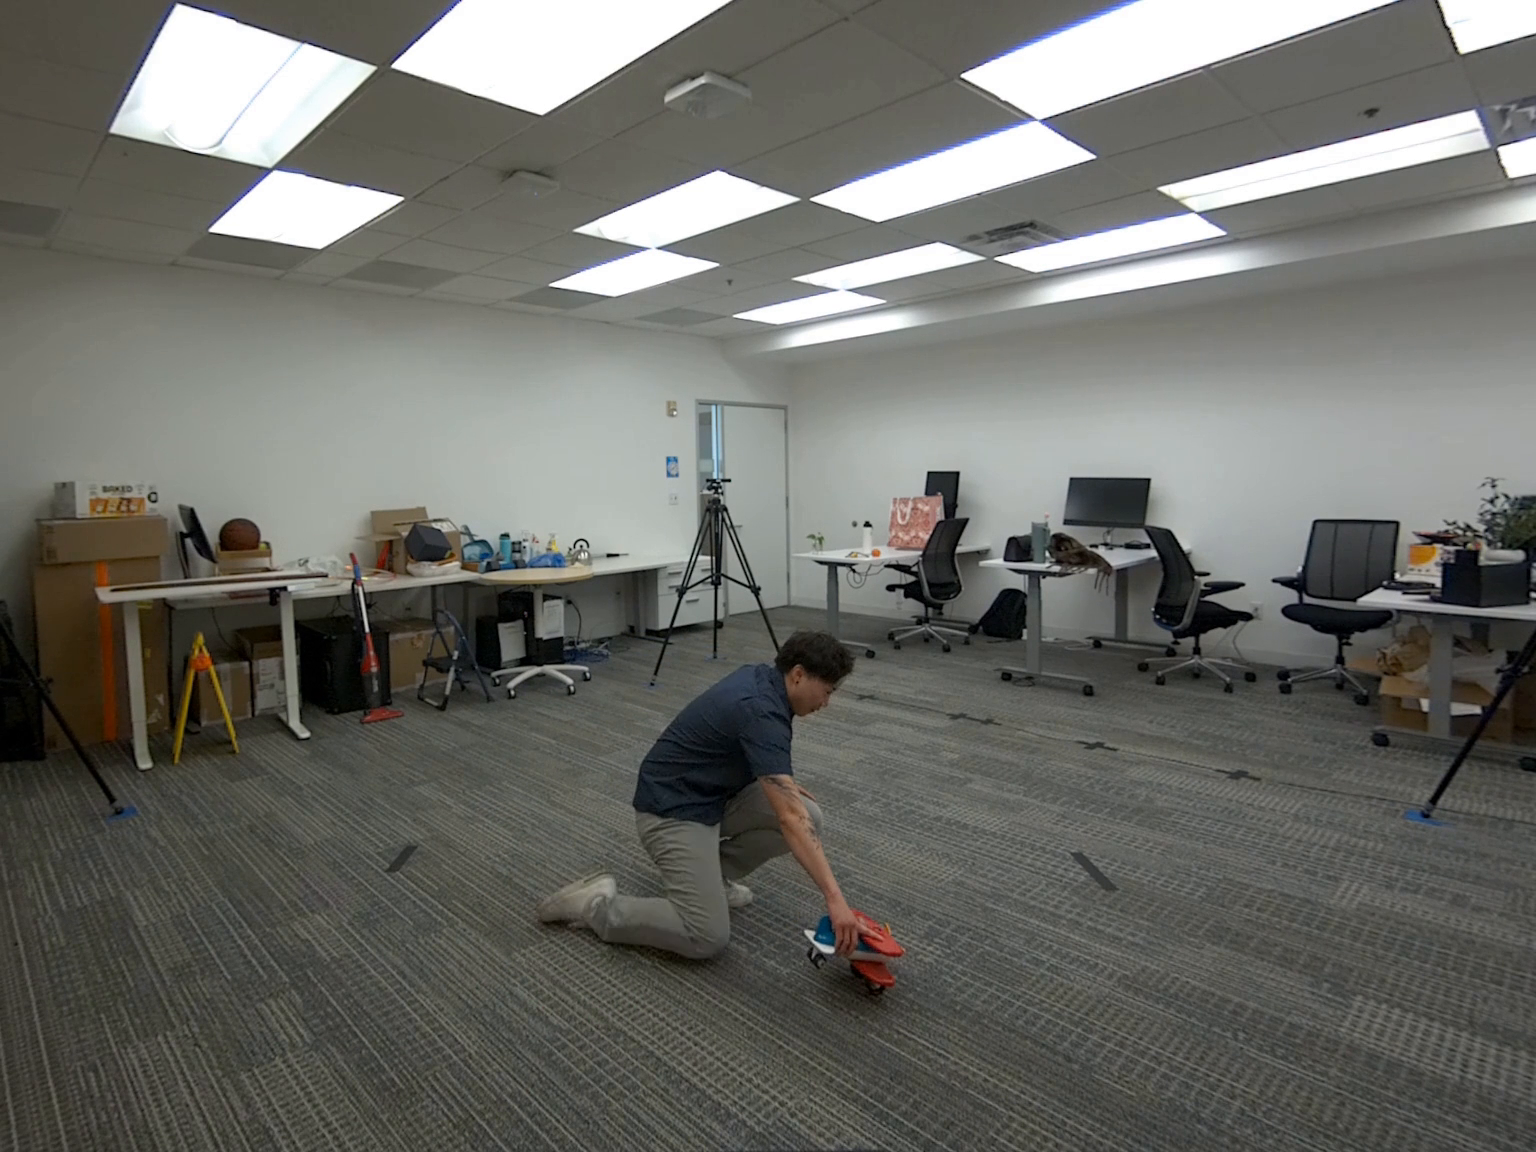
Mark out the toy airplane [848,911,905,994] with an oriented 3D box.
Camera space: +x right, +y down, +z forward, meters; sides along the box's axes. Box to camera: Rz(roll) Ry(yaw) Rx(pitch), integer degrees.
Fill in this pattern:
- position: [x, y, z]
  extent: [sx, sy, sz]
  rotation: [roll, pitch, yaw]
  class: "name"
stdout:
- position: [0.248, 1.028, 2.312]
  extent: [0.260, 0.157, 0.249]
  rotation: [22, -8, 41]
  class: "toy airplane"
